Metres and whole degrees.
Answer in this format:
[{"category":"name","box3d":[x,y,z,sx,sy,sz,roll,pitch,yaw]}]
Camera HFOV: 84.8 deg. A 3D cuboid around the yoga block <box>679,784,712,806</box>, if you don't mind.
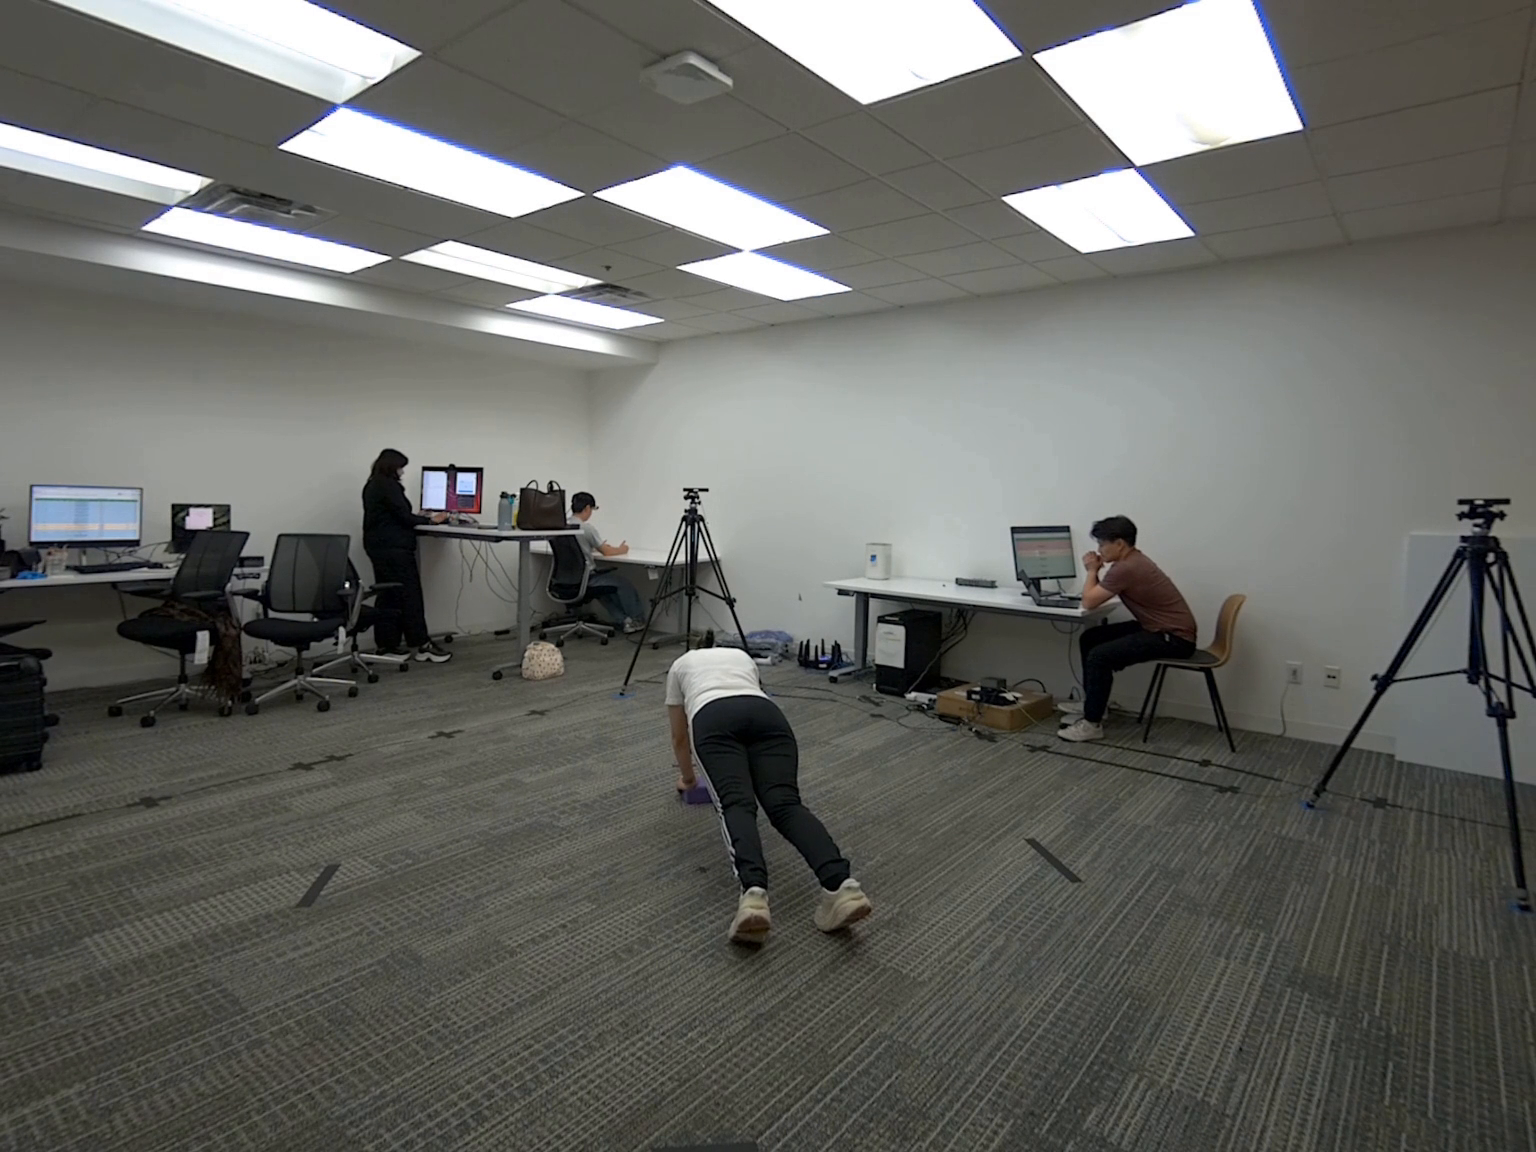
[{"category":"yoga block","box3d":[-0.273,0.958,3.836,0.226,0.076,0.152,-2,5,-14]}]
